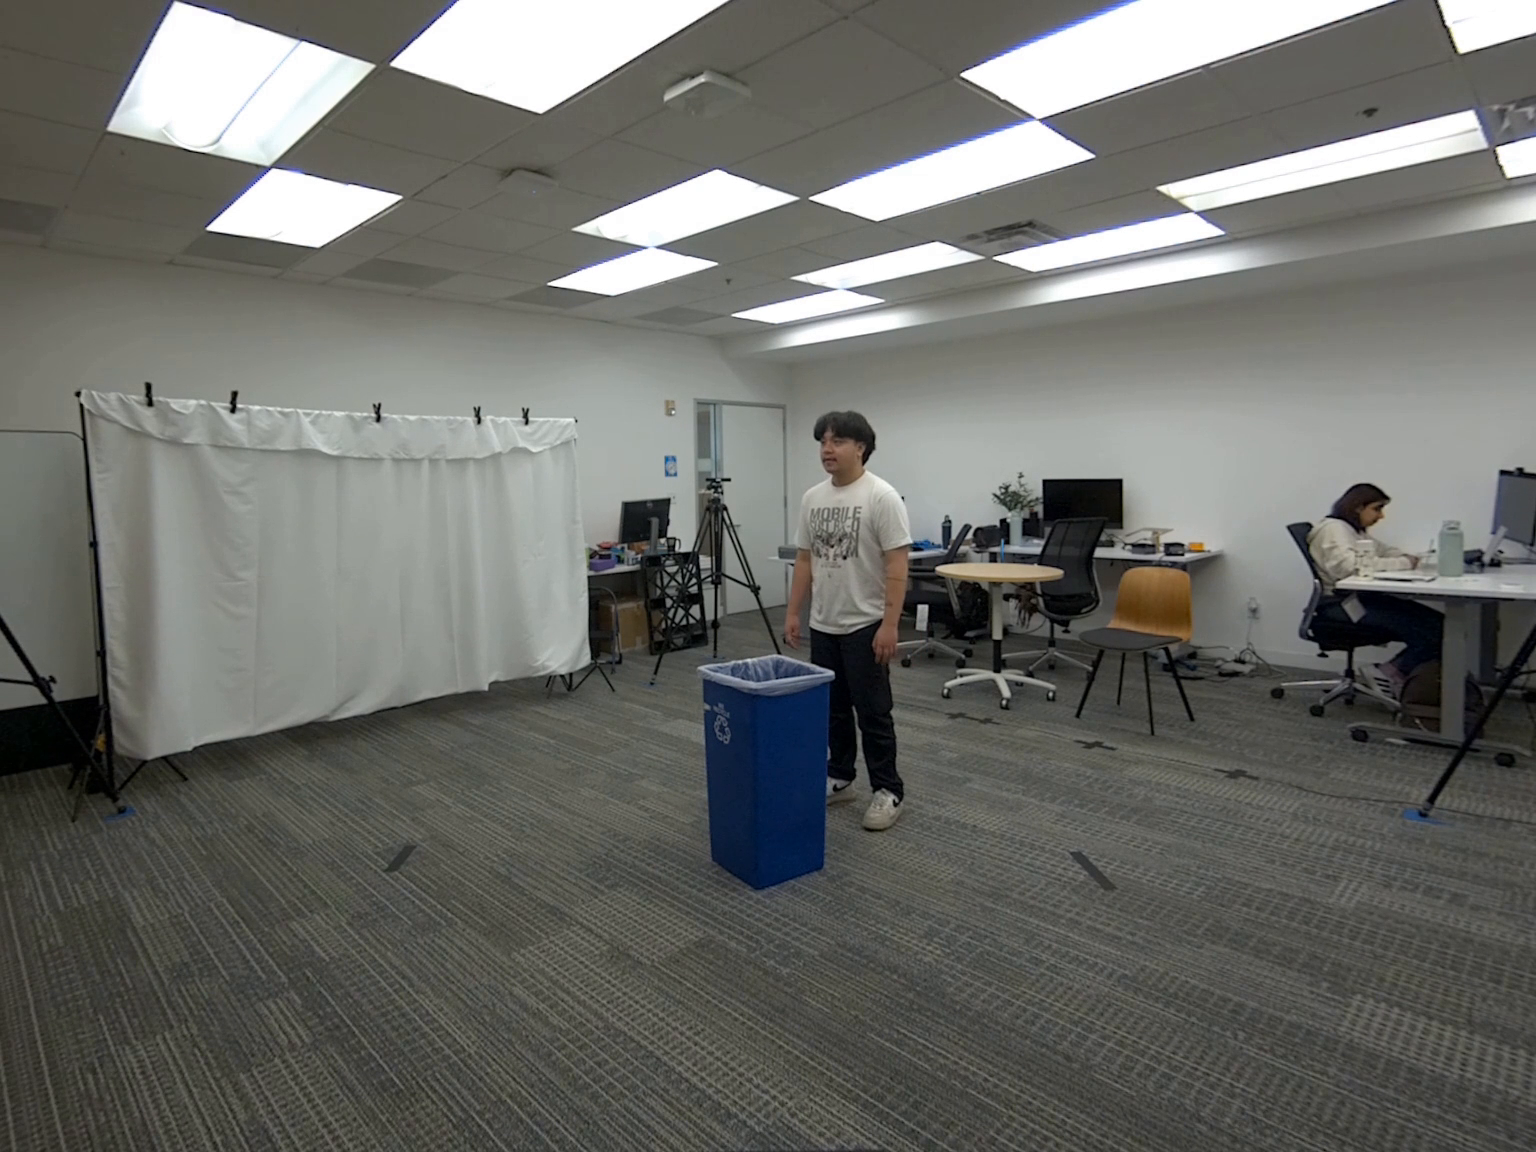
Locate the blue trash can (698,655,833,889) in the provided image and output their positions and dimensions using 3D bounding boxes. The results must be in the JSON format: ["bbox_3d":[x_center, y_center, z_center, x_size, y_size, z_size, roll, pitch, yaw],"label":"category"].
[{"bbox_3d":[0.000,0.686,3.070,0.368,0.711,0.385,-4,4,-35],"label":"blue trash can"}]
